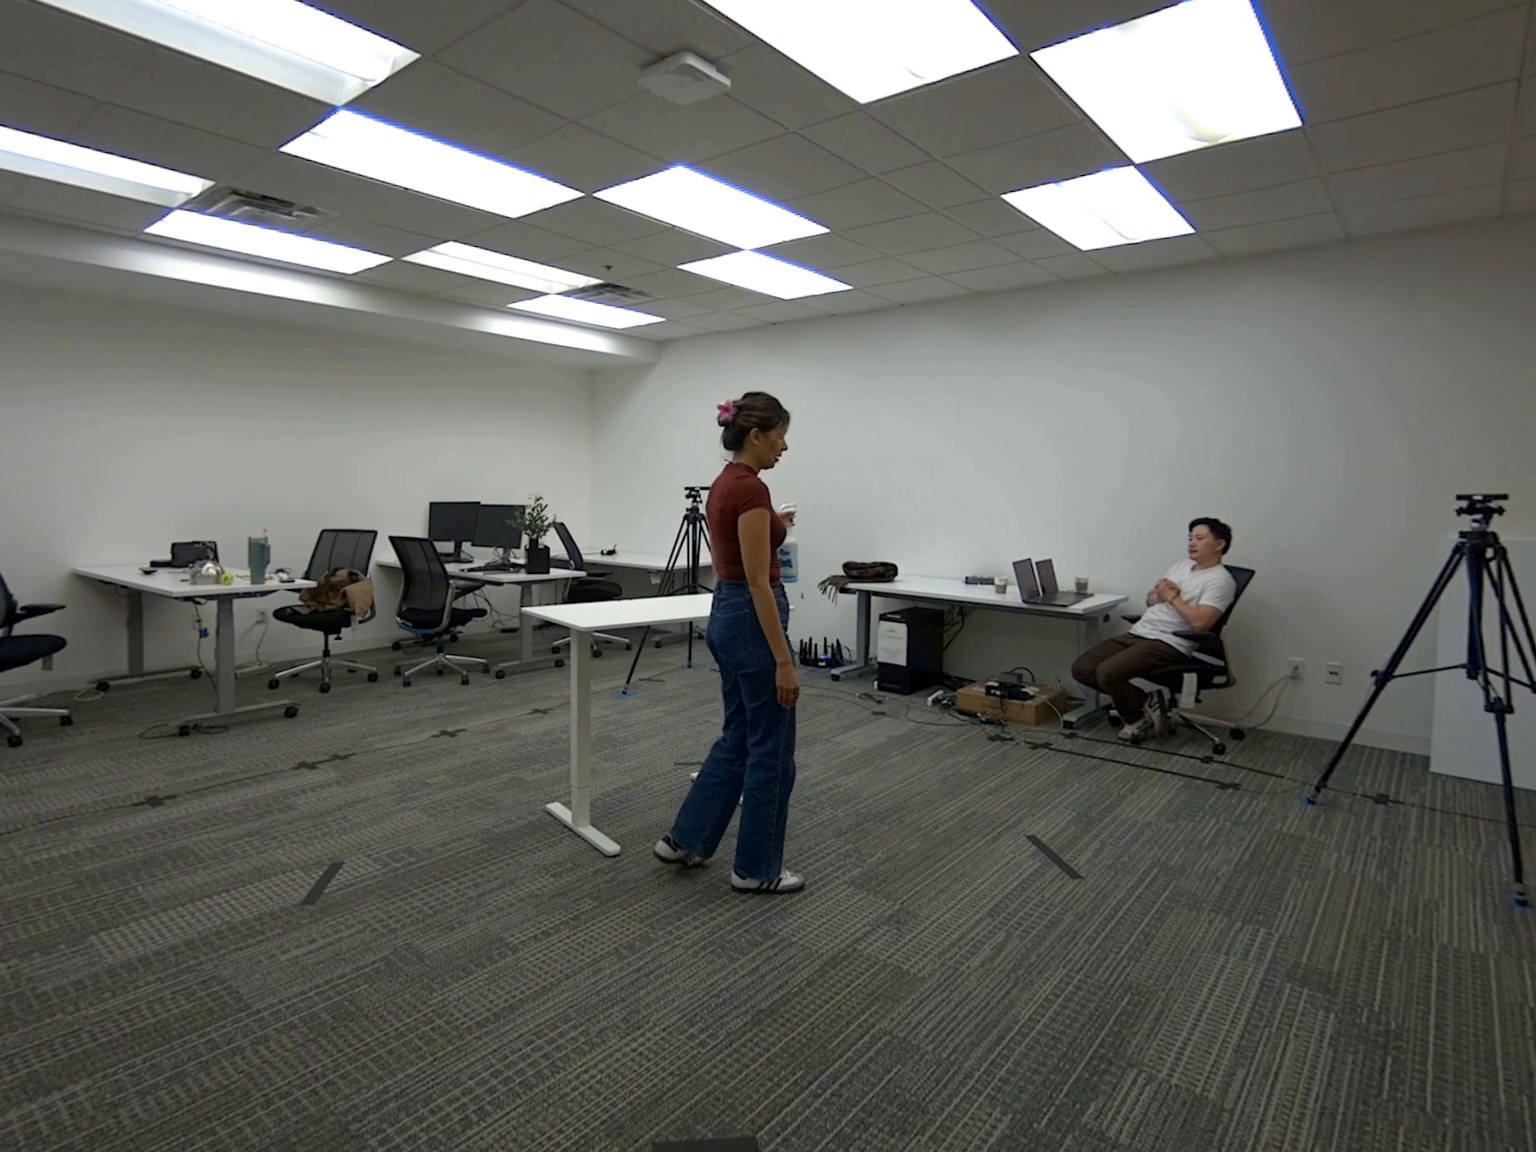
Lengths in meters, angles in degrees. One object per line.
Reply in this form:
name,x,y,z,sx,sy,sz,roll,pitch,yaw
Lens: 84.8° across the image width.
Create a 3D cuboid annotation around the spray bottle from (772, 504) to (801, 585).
spray bottle,0.064,-0.126,3.228,0.088,0.296,0.089,-1,6,-16
